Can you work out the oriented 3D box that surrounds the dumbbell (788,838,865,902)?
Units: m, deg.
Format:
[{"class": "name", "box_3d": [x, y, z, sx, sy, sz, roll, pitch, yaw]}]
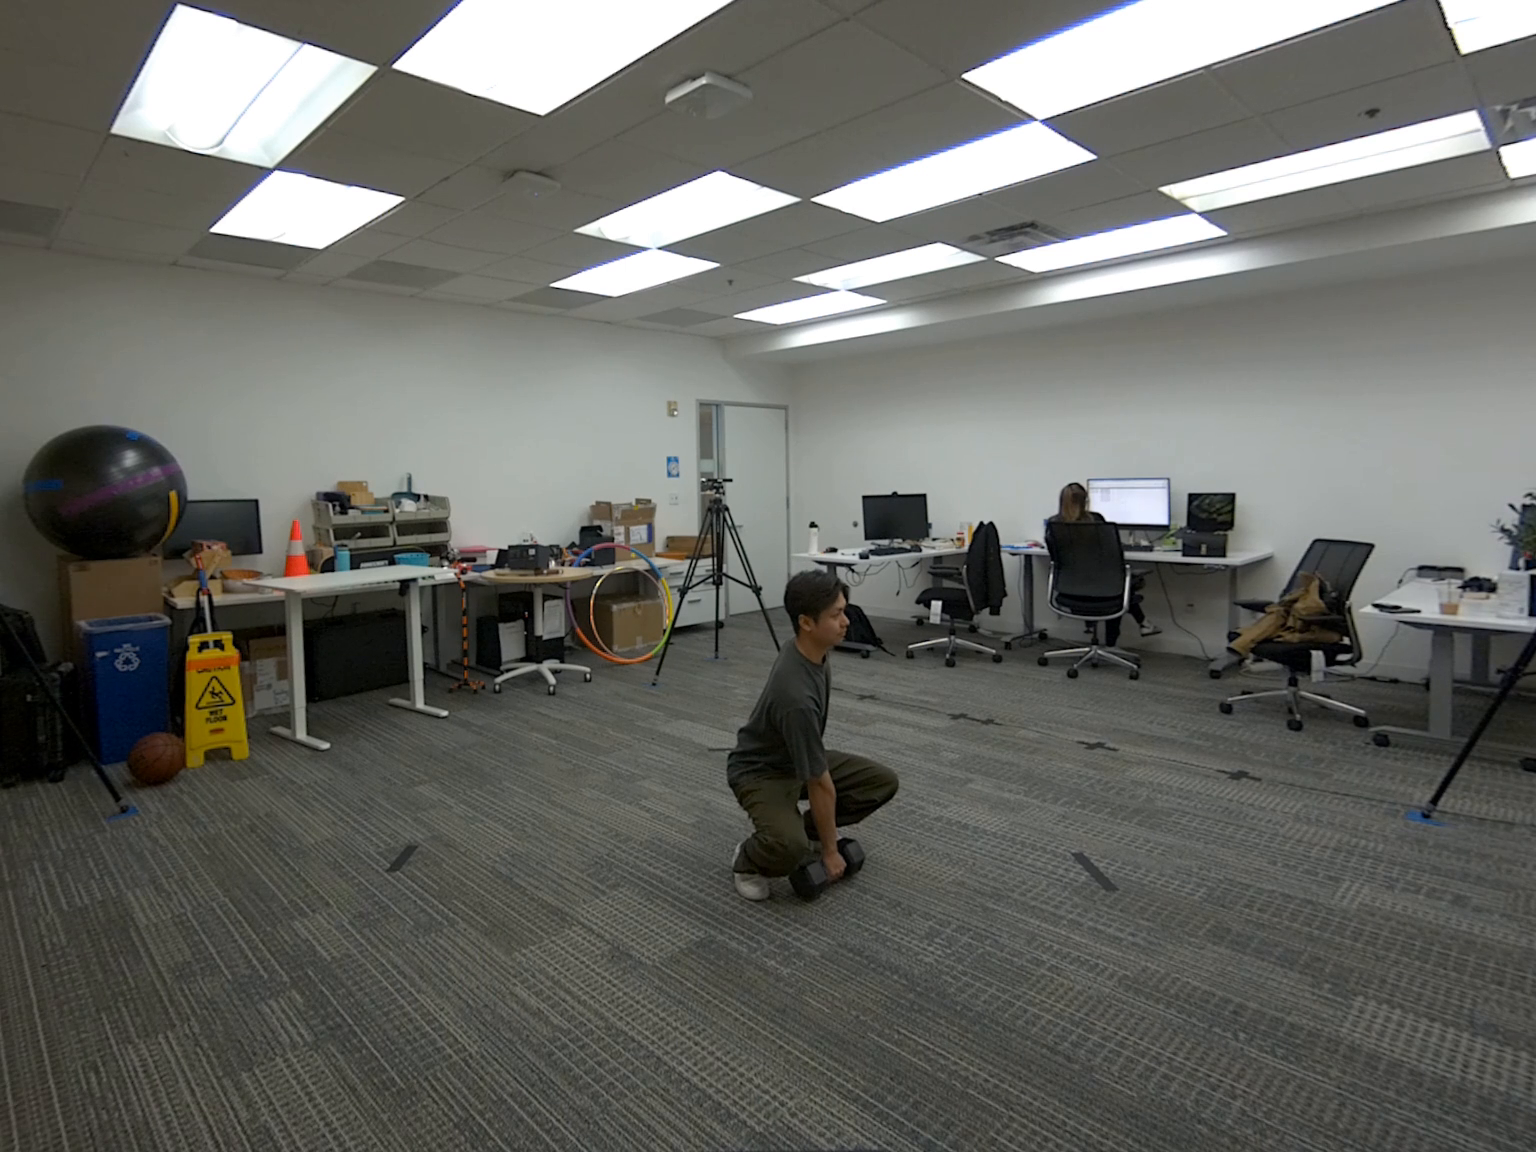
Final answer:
[{"class": "dumbbell", "box_3d": [0.201, 0.995, 2.913, 0.113, 0.121, 0.286, 31, 27, 36]}]
